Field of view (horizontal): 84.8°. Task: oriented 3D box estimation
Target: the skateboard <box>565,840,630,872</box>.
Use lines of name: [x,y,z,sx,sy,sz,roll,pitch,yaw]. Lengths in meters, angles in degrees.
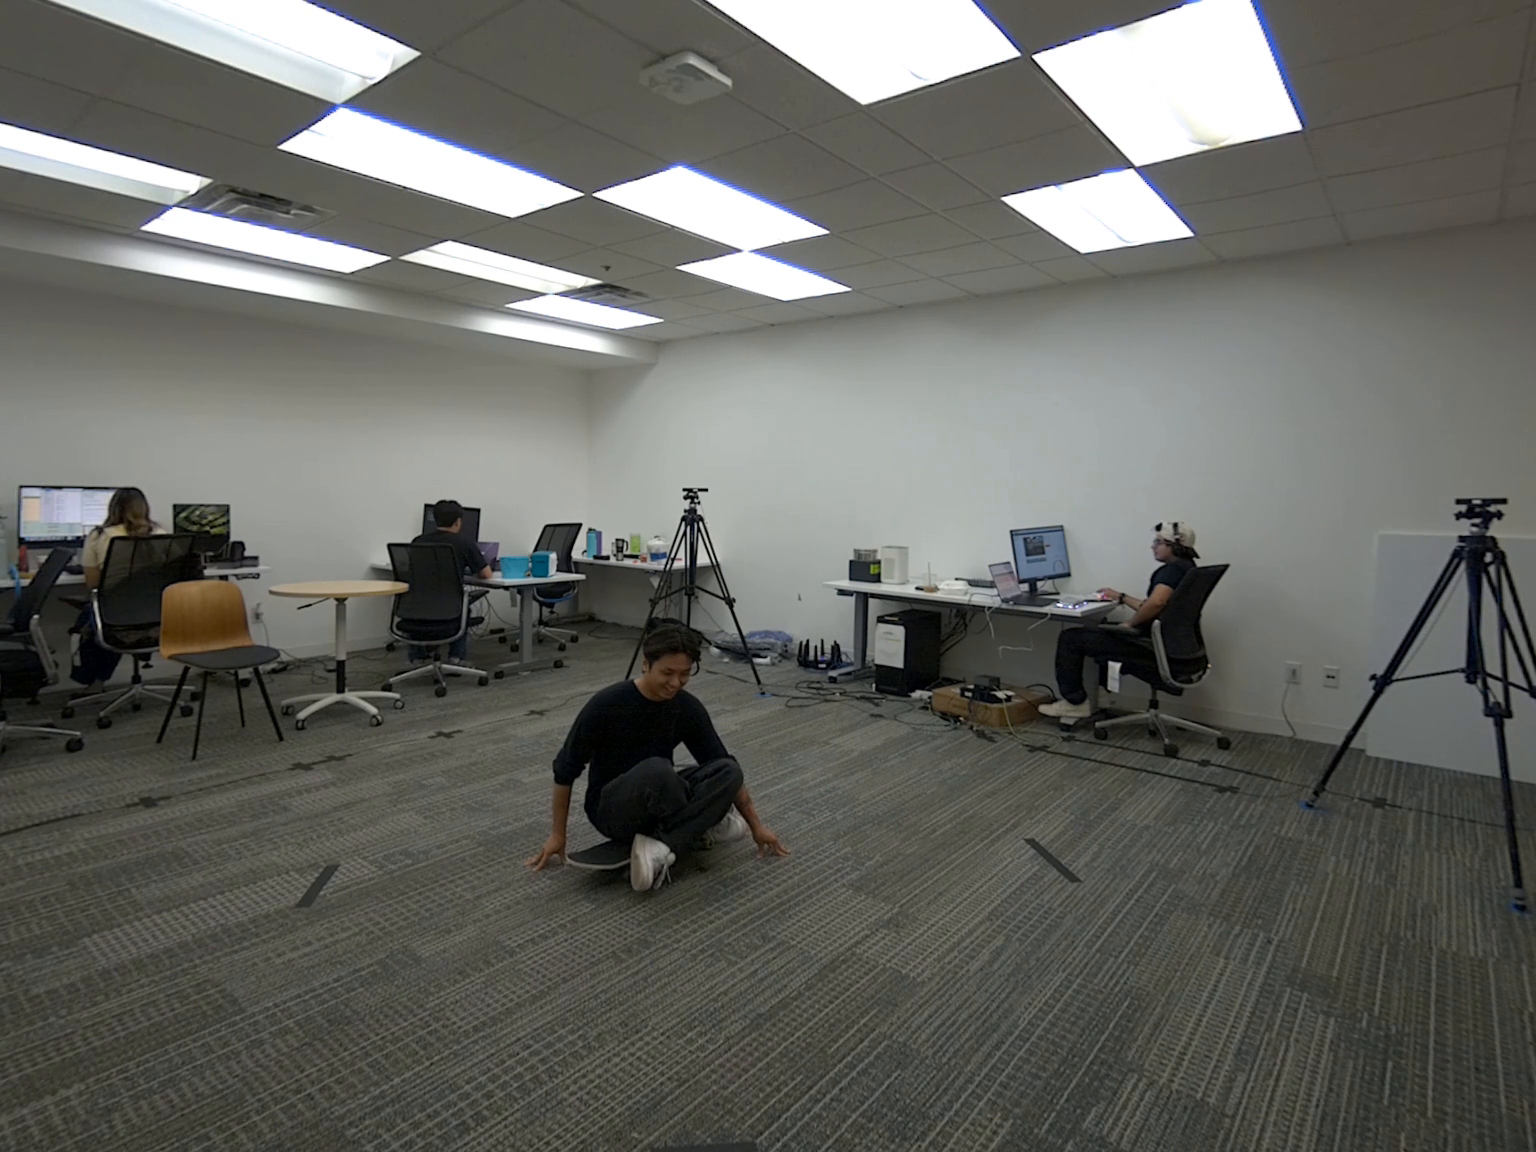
skateboard: [-0.404,1.020,3.204,0.200,0.110,0.763,3,7,38]
